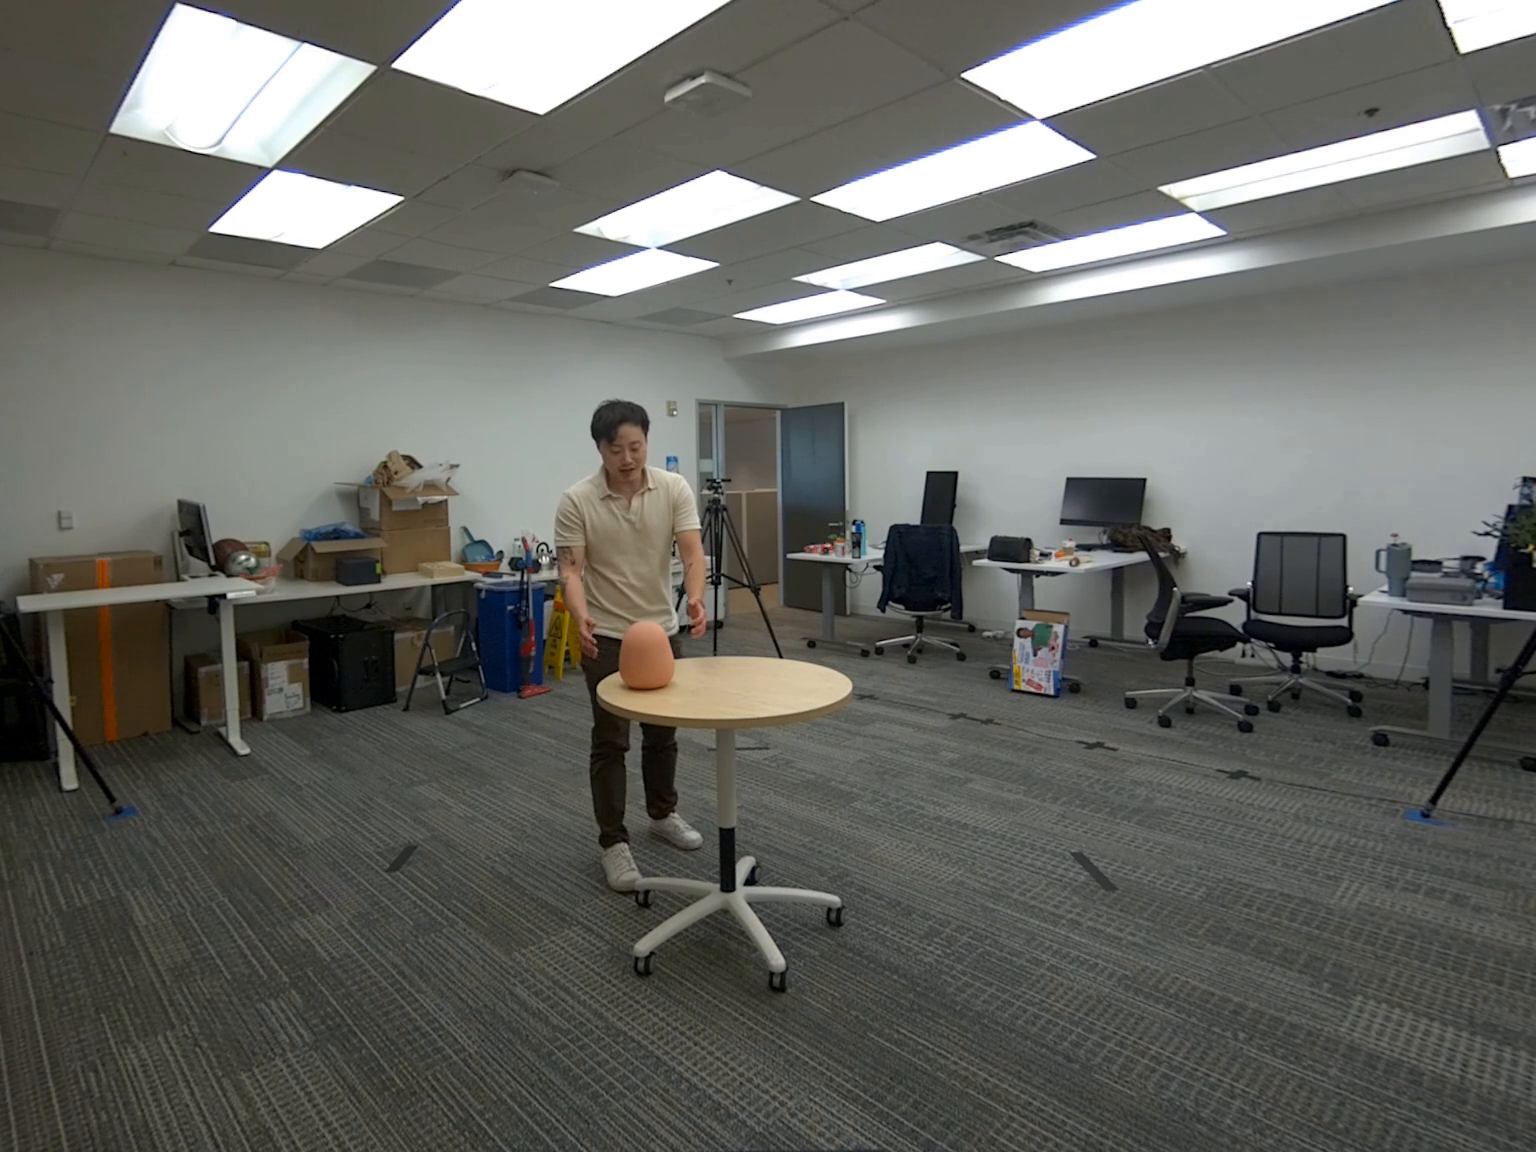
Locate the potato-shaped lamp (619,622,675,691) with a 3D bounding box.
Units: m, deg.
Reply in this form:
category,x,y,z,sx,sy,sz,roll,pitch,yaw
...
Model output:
category,x,y,z,sx,sy,sz,roll,pitch,yaw
potato-shaped lamp,-0.358,0.233,2.543,0.166,0.197,0.171,-4,7,7
